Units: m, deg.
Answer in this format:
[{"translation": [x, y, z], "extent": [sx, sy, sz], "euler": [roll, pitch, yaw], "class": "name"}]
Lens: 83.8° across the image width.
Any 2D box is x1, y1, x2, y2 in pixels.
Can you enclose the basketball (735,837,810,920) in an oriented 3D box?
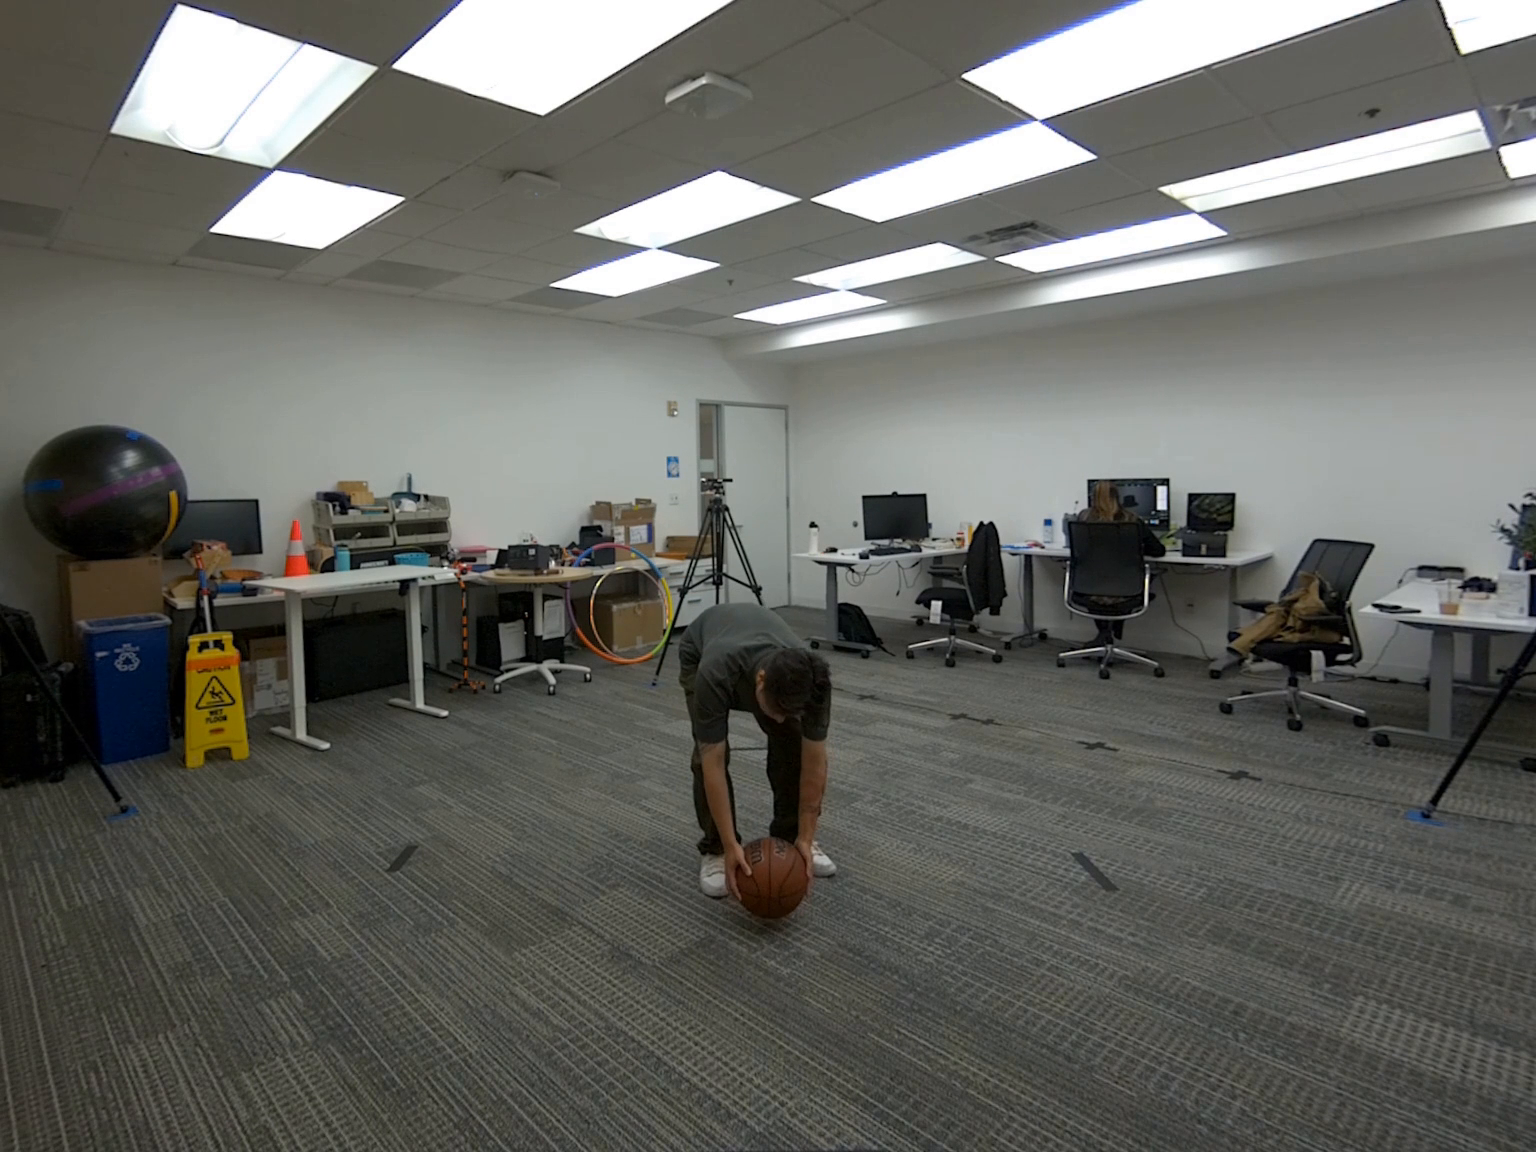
[{"translation": [0.012, 0.940, 2.674], "extent": [0.236, 0.235, 0.237], "euler": [-1, 5, -2], "class": "basketball"}]
